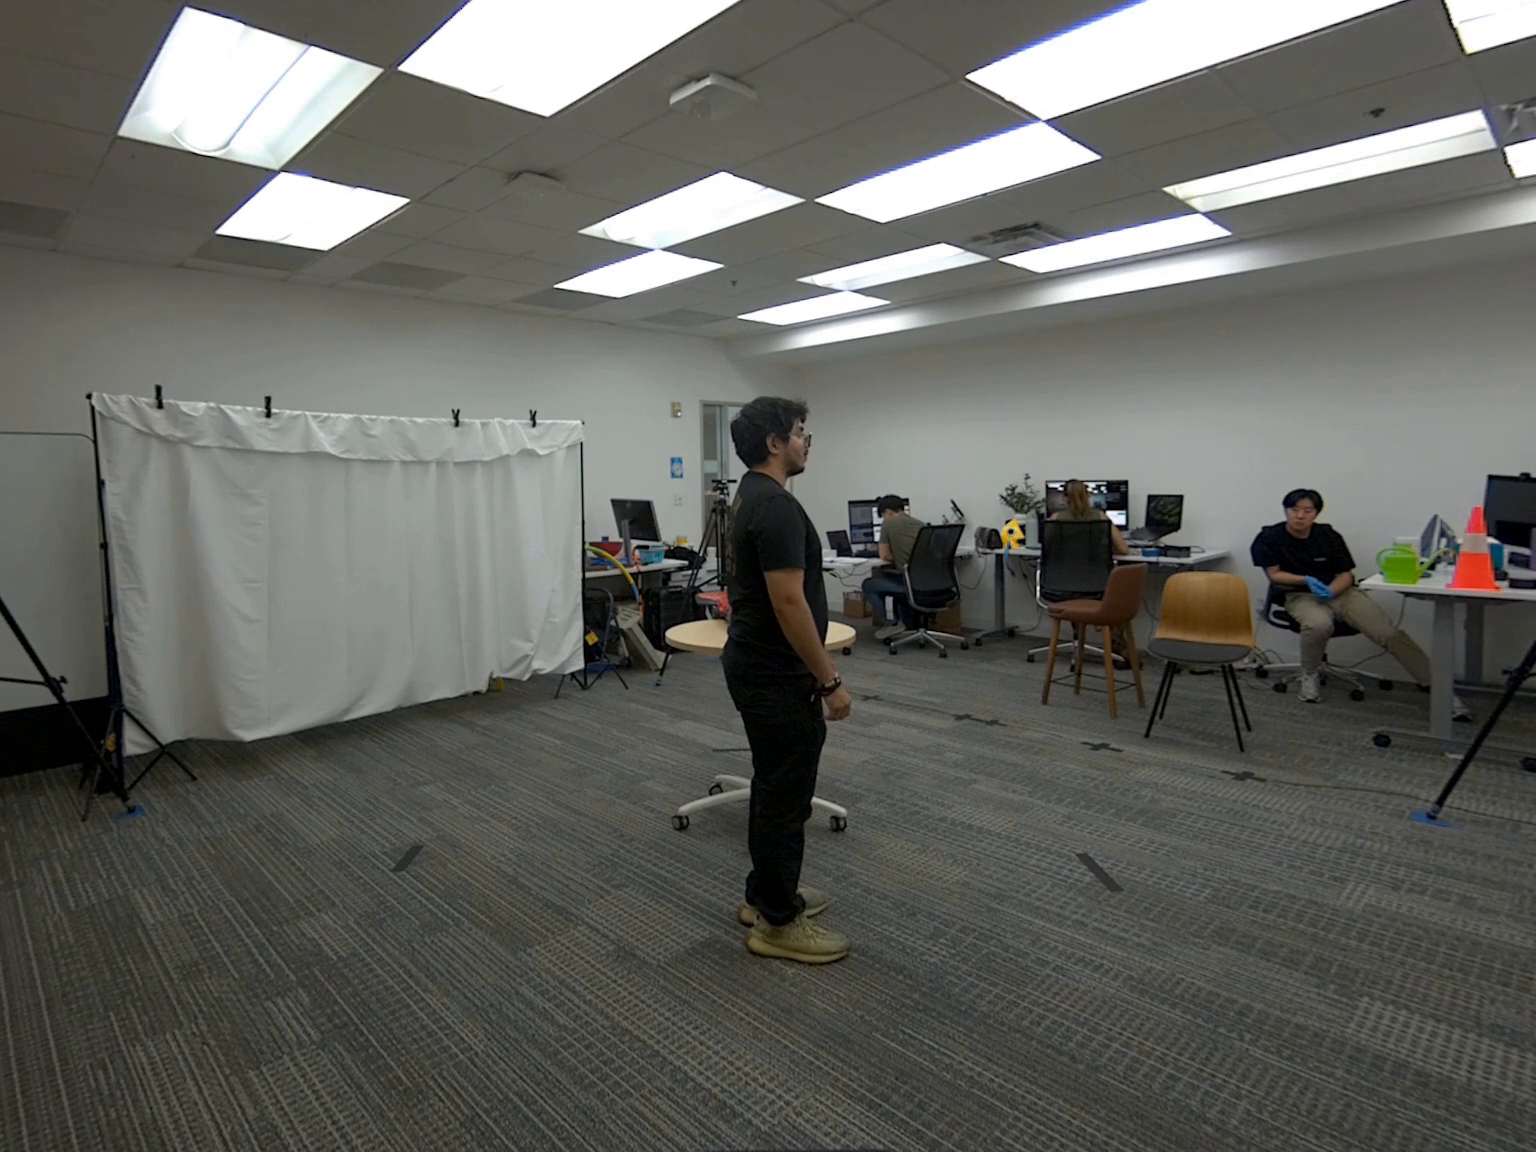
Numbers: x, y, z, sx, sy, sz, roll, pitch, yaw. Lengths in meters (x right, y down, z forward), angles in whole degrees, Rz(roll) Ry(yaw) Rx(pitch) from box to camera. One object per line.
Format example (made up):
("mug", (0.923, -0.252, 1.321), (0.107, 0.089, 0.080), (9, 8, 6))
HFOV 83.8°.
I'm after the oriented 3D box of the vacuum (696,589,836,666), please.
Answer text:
("vacuum", (-0.047, 0.183, 3.358), (0.249, 0.143, 1.068), (-3, 6, -16))
